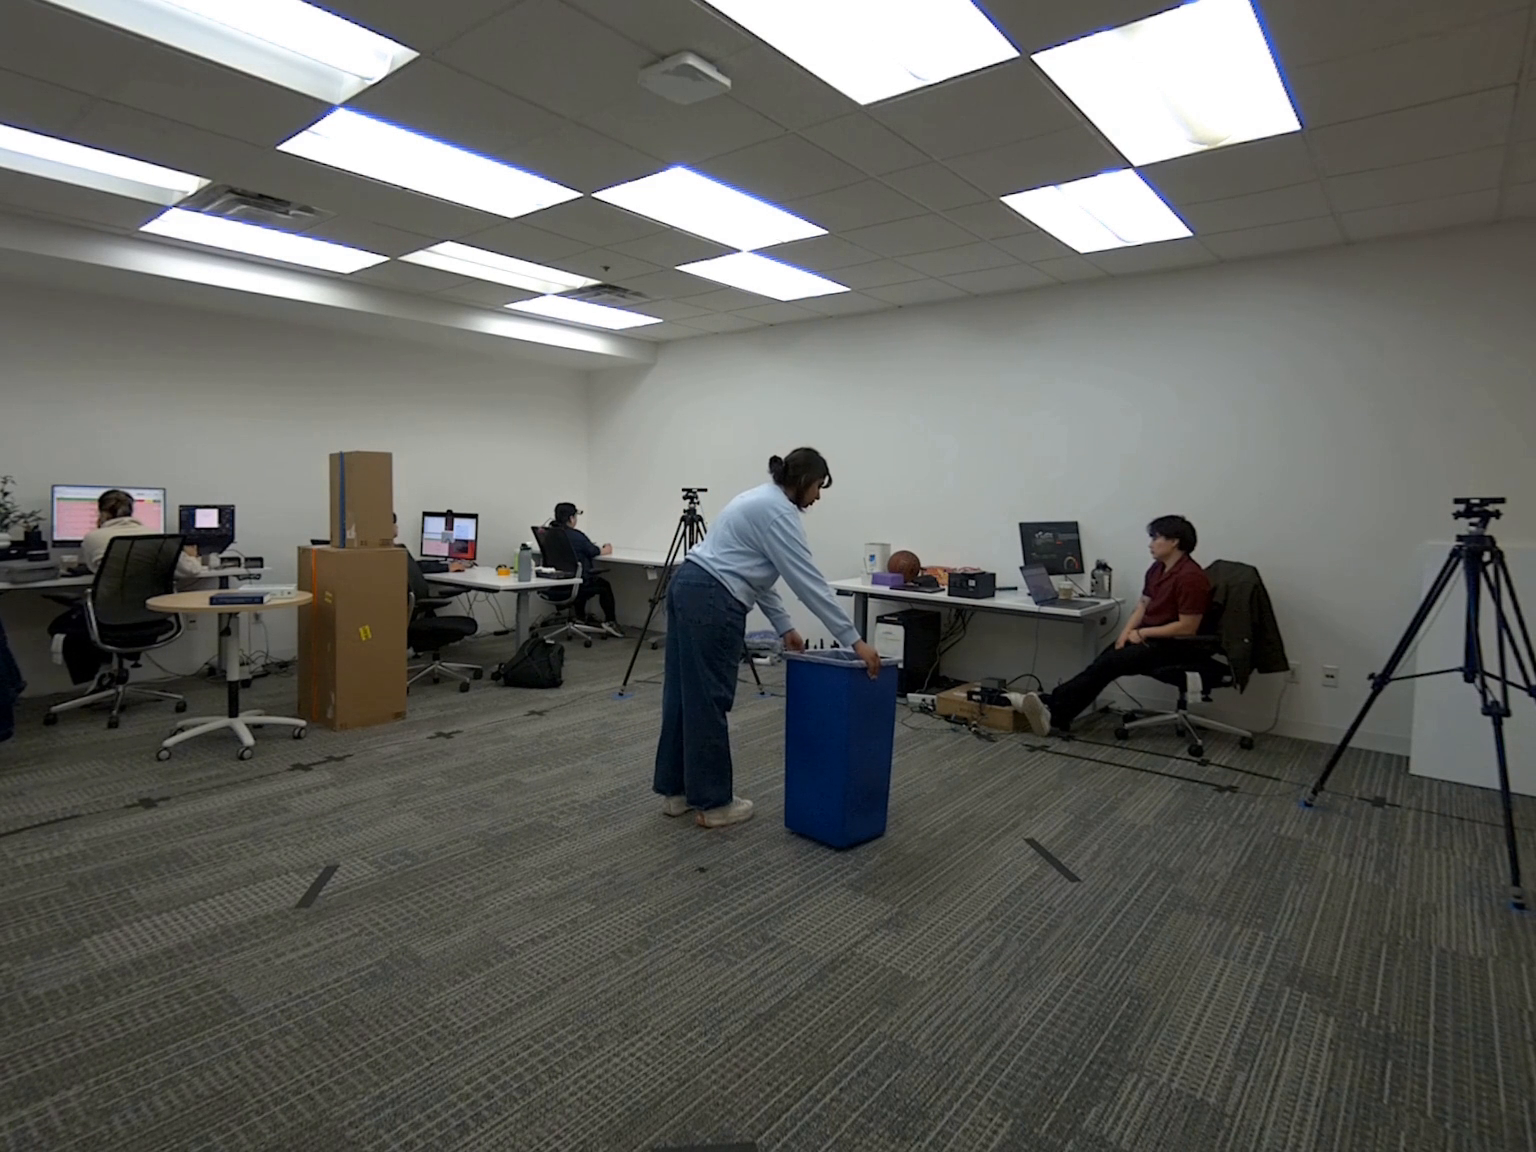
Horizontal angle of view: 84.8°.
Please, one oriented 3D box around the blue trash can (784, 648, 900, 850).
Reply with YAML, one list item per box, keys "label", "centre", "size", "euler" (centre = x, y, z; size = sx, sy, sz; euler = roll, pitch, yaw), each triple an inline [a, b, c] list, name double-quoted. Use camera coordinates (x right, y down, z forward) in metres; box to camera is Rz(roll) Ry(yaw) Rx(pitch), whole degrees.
- label: "blue trash can"
  centre: [0.274, 0.679, 3.478]
  size: [0.386, 0.714, 0.365]
  euler: [2, -2, 43]
